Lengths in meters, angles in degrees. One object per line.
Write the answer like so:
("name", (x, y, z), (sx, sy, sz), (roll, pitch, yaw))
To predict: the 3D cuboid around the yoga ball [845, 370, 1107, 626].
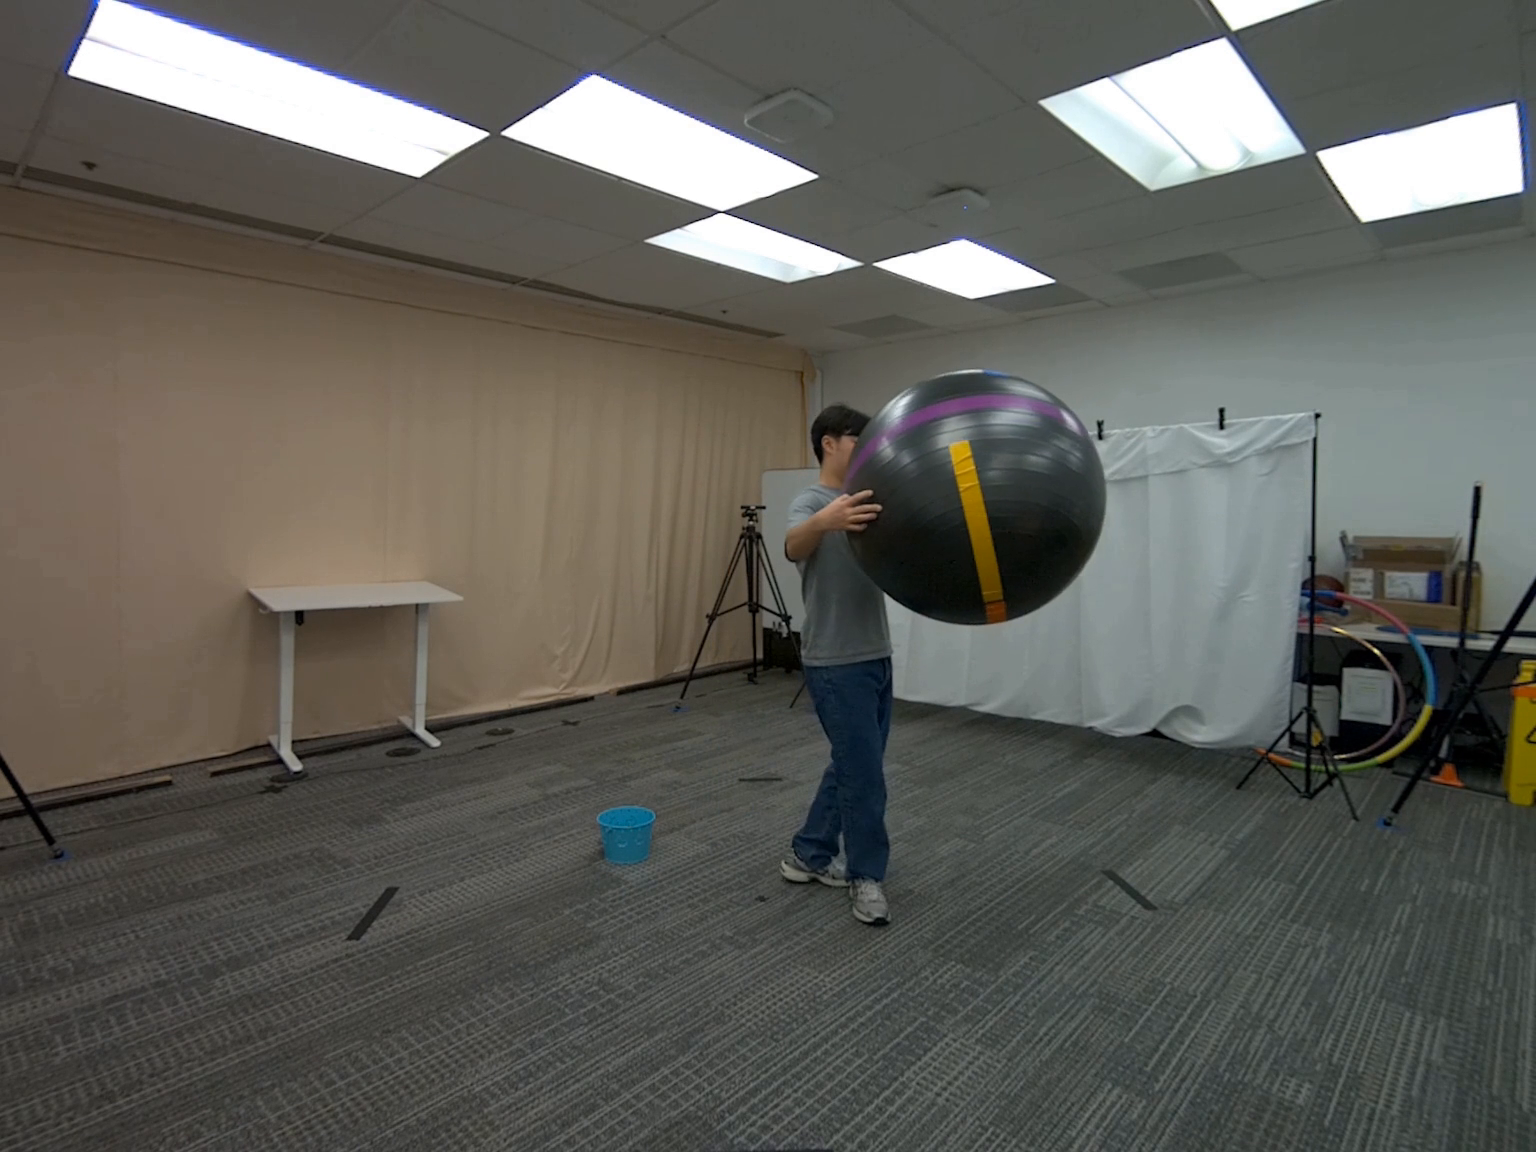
("yoga ball", (0.609, -0.223, 2.538), (0.757, 0.756, 0.761), (0, 4, -2))
